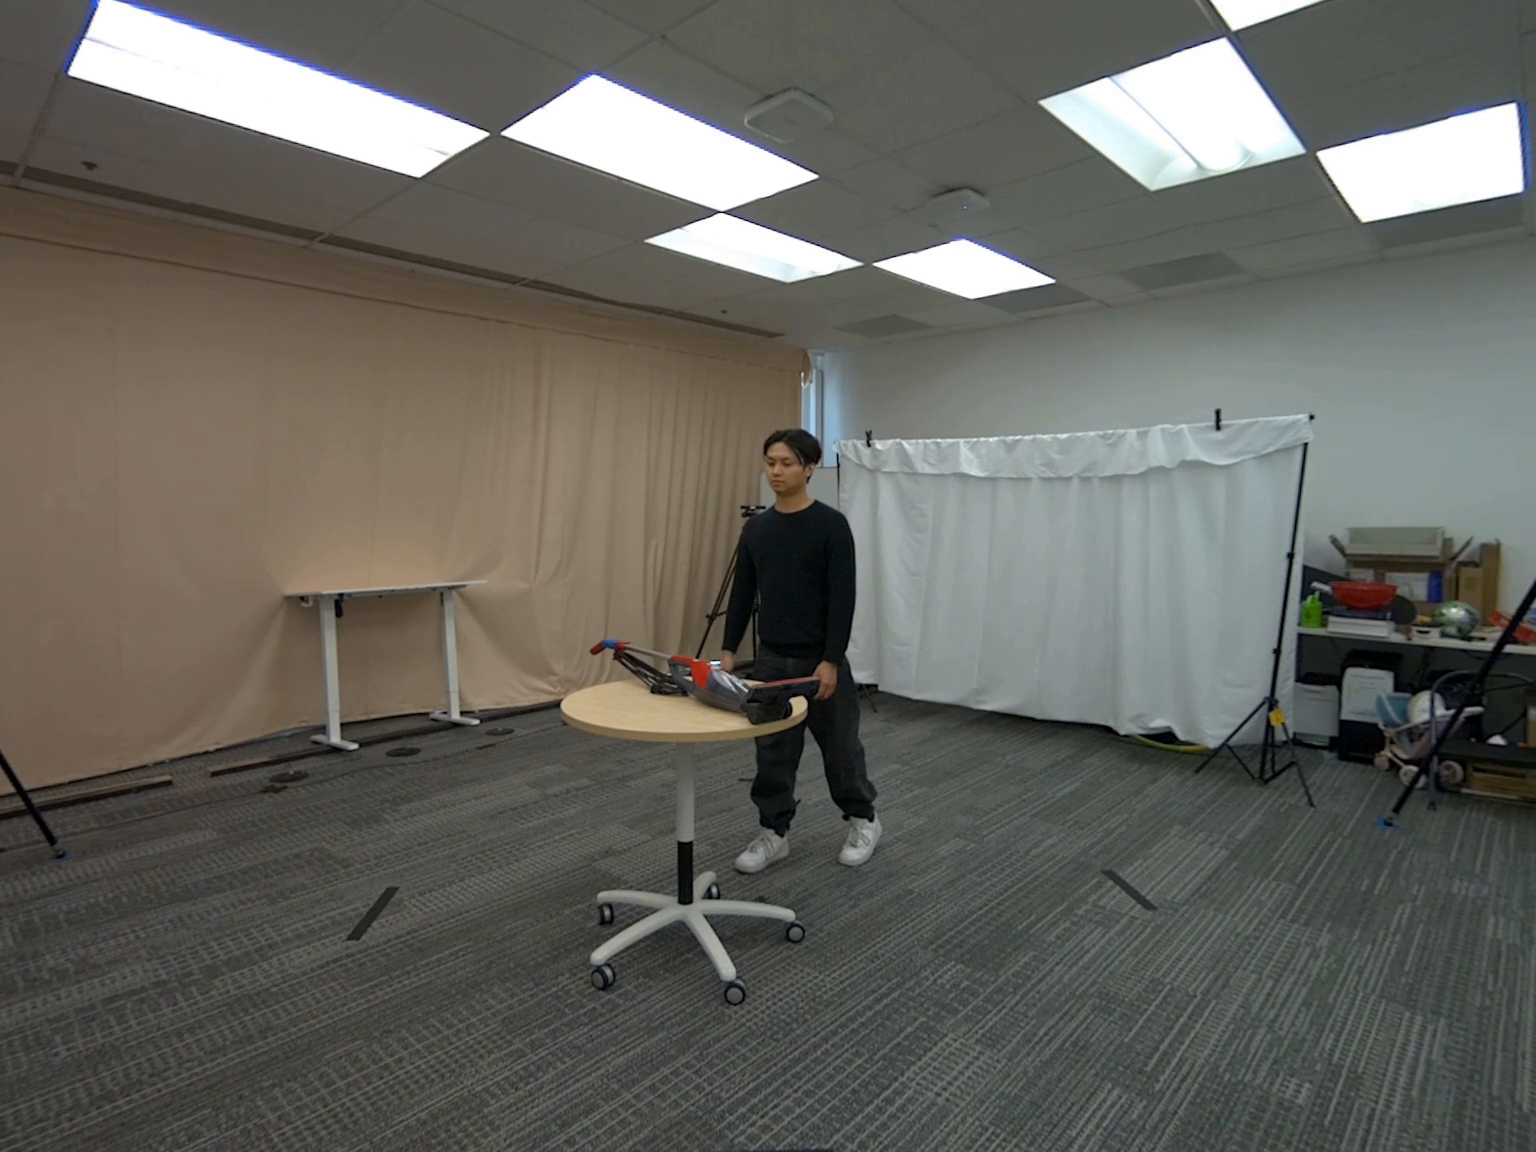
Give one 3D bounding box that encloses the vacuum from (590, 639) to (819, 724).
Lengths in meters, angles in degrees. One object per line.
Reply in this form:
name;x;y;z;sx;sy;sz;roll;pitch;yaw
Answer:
vacuum;-0.311;0.324;2.764;0.245;0.143;1.083;-5;7;-38
